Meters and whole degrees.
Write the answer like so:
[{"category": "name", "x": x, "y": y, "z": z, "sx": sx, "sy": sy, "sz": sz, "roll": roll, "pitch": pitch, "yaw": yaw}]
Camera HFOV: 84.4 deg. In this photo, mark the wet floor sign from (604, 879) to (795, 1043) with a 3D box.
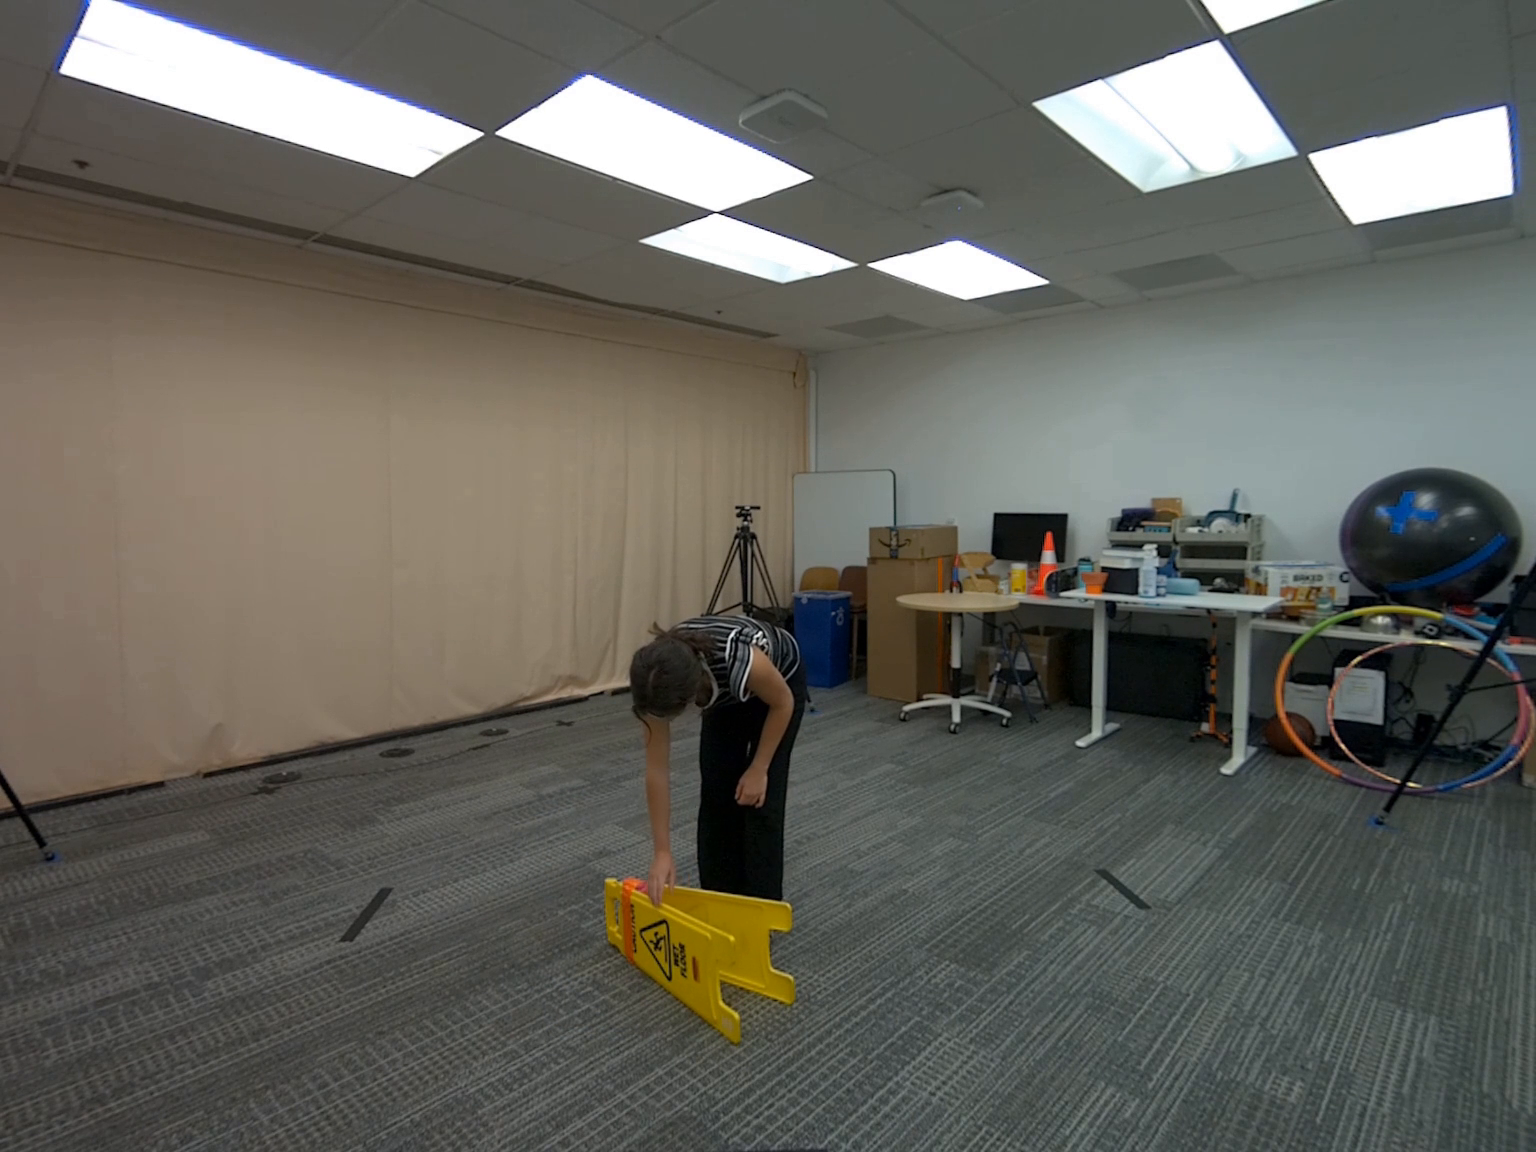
[{"category": "wet floor sign", "x": -0.259, "y": 1.063, "z": 2.470, "sx": 0.666, "sy": 0.282, "sz": 0.281, "roll": 0, "pitch": 4, "yaw": 39}]
